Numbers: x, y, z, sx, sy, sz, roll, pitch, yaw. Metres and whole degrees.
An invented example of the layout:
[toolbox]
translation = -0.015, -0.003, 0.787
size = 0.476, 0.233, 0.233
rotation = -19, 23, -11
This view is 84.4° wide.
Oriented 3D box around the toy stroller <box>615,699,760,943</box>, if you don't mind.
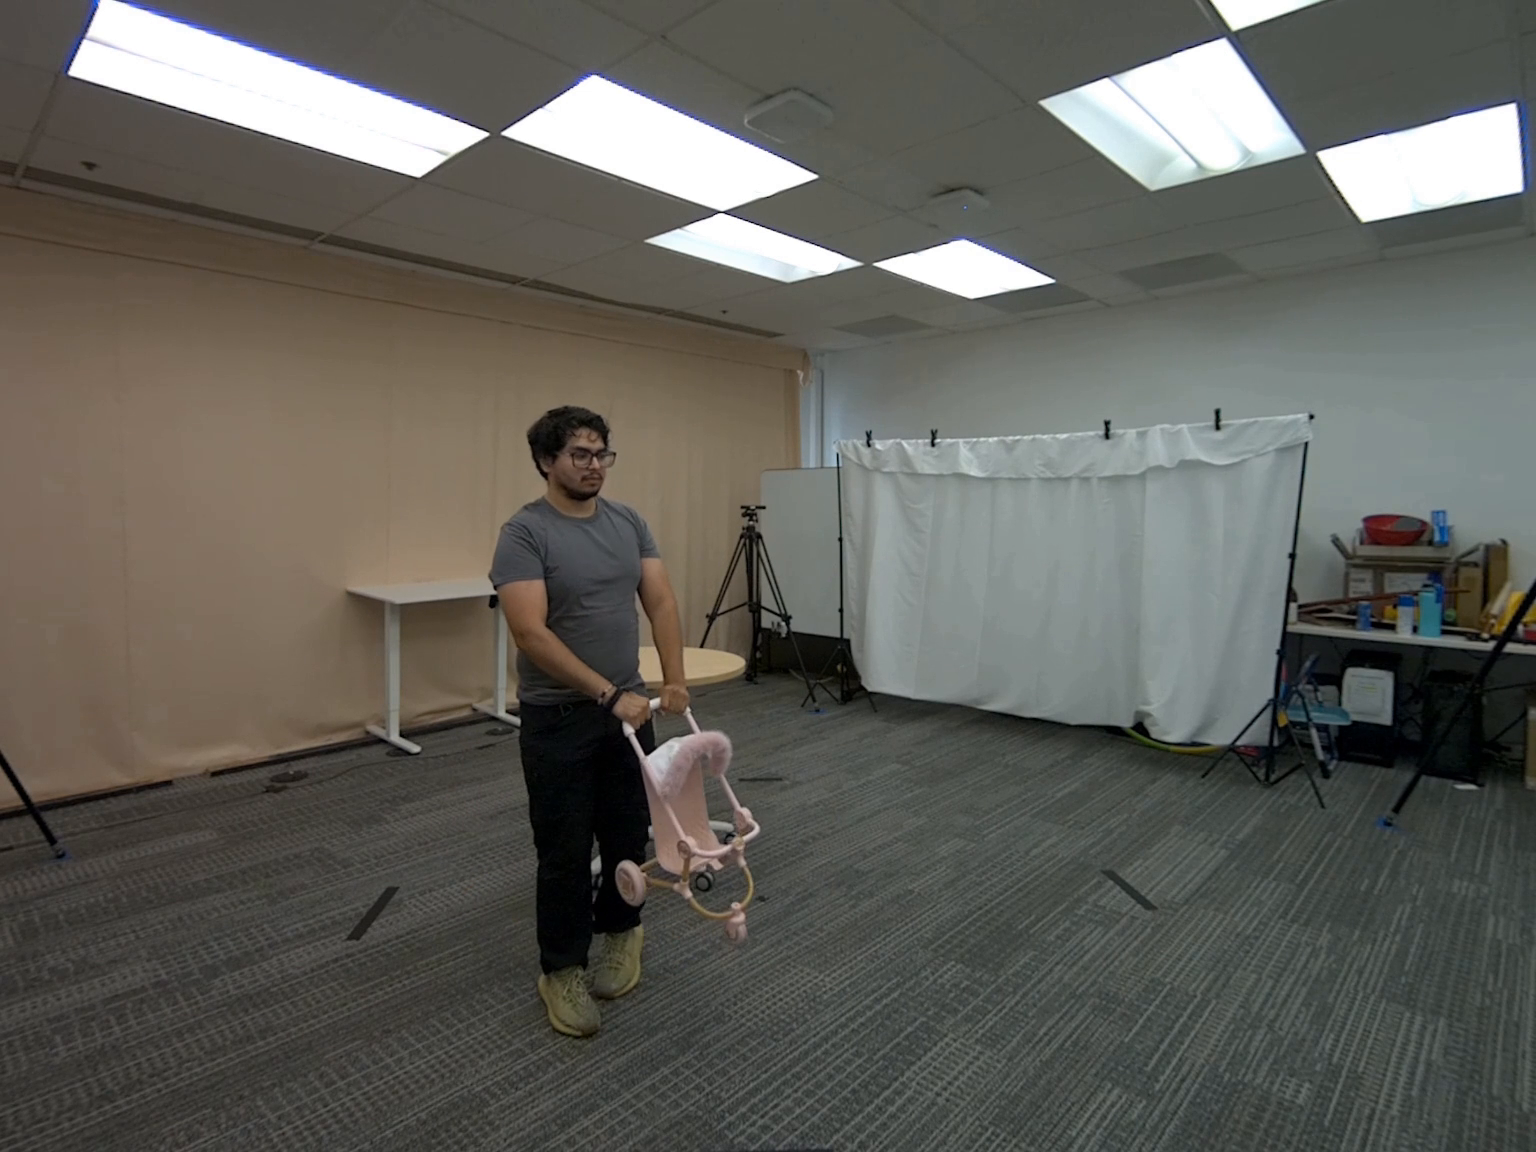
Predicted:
[toy stroller]
translation = -0.182, 0.600, 2.059
size = 0.273, 0.532, 0.353
rotation = -9, 12, -41
